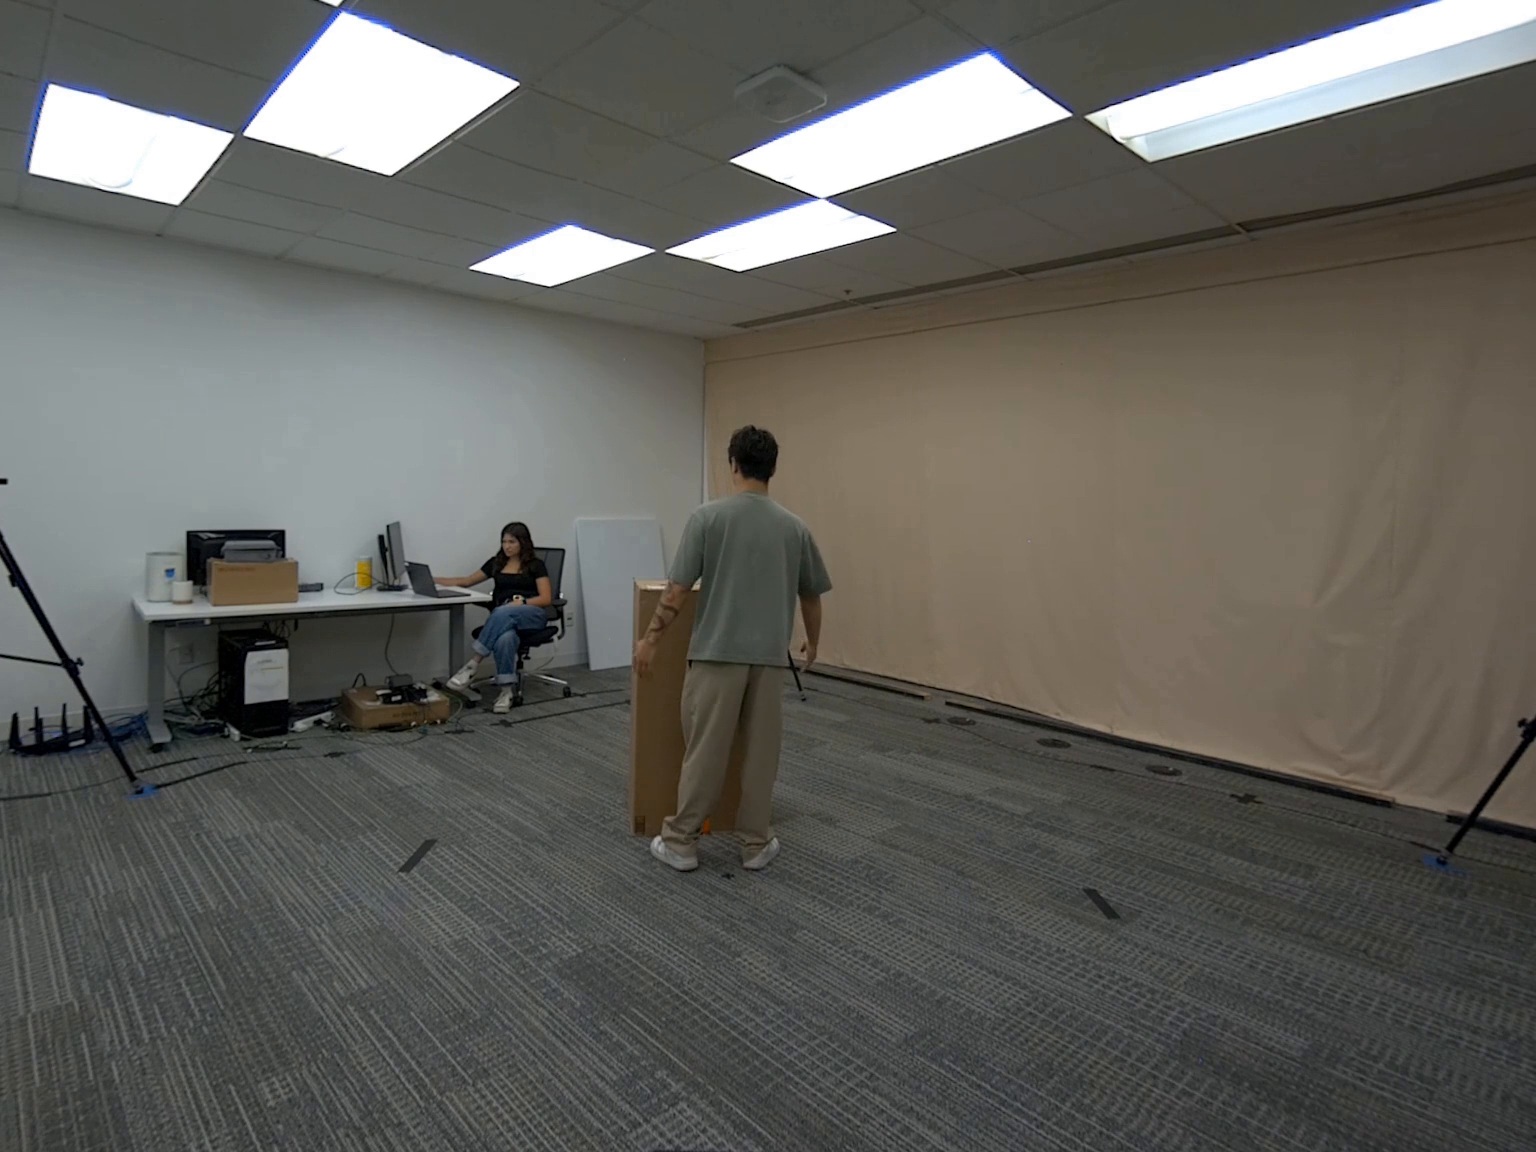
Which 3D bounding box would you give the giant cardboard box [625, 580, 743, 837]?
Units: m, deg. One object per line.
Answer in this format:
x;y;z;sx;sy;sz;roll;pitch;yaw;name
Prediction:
-0.302;0.548;3.679;0.573;1.024;0.430;1;3;-9;giant cardboard box
